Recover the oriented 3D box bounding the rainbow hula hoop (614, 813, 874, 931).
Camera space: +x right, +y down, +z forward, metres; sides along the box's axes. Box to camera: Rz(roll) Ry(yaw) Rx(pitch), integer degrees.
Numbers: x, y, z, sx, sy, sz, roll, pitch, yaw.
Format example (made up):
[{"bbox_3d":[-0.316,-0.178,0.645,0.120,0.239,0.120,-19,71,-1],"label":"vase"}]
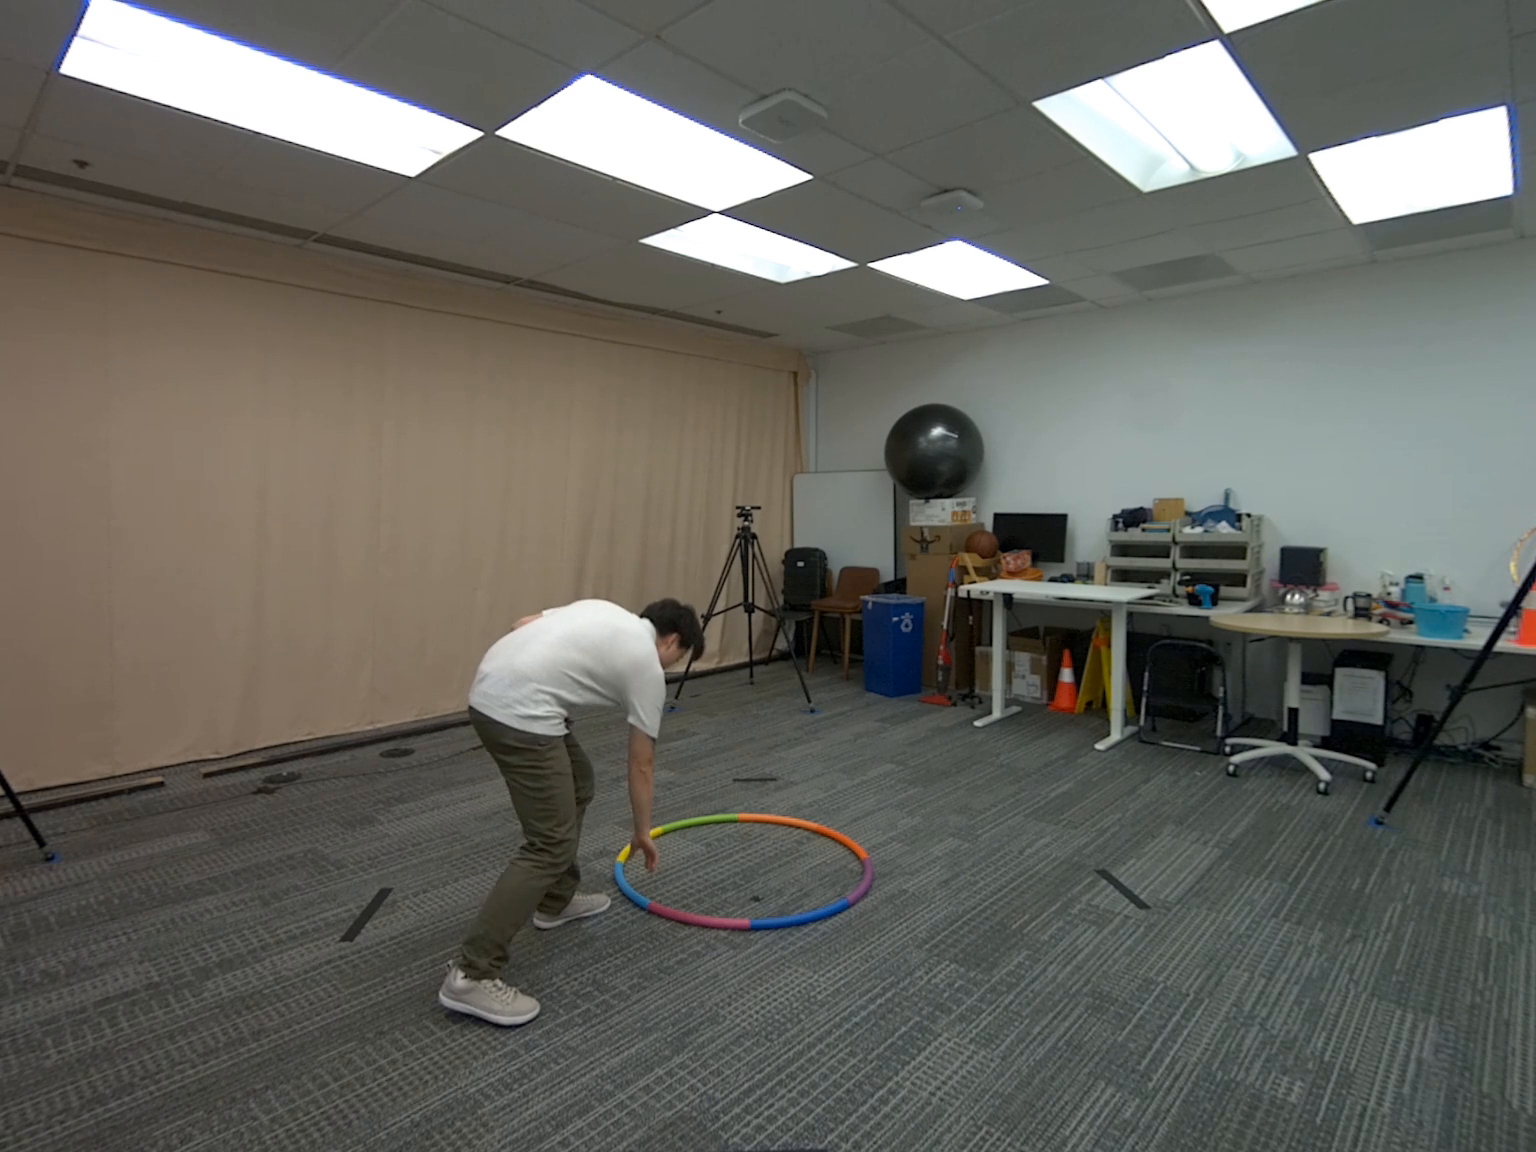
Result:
[{"bbox_3d":[-0.095,1.094,3.240,0.978,0.035,0.982,0,5,-2],"label":"rainbow hula hoop"}]
